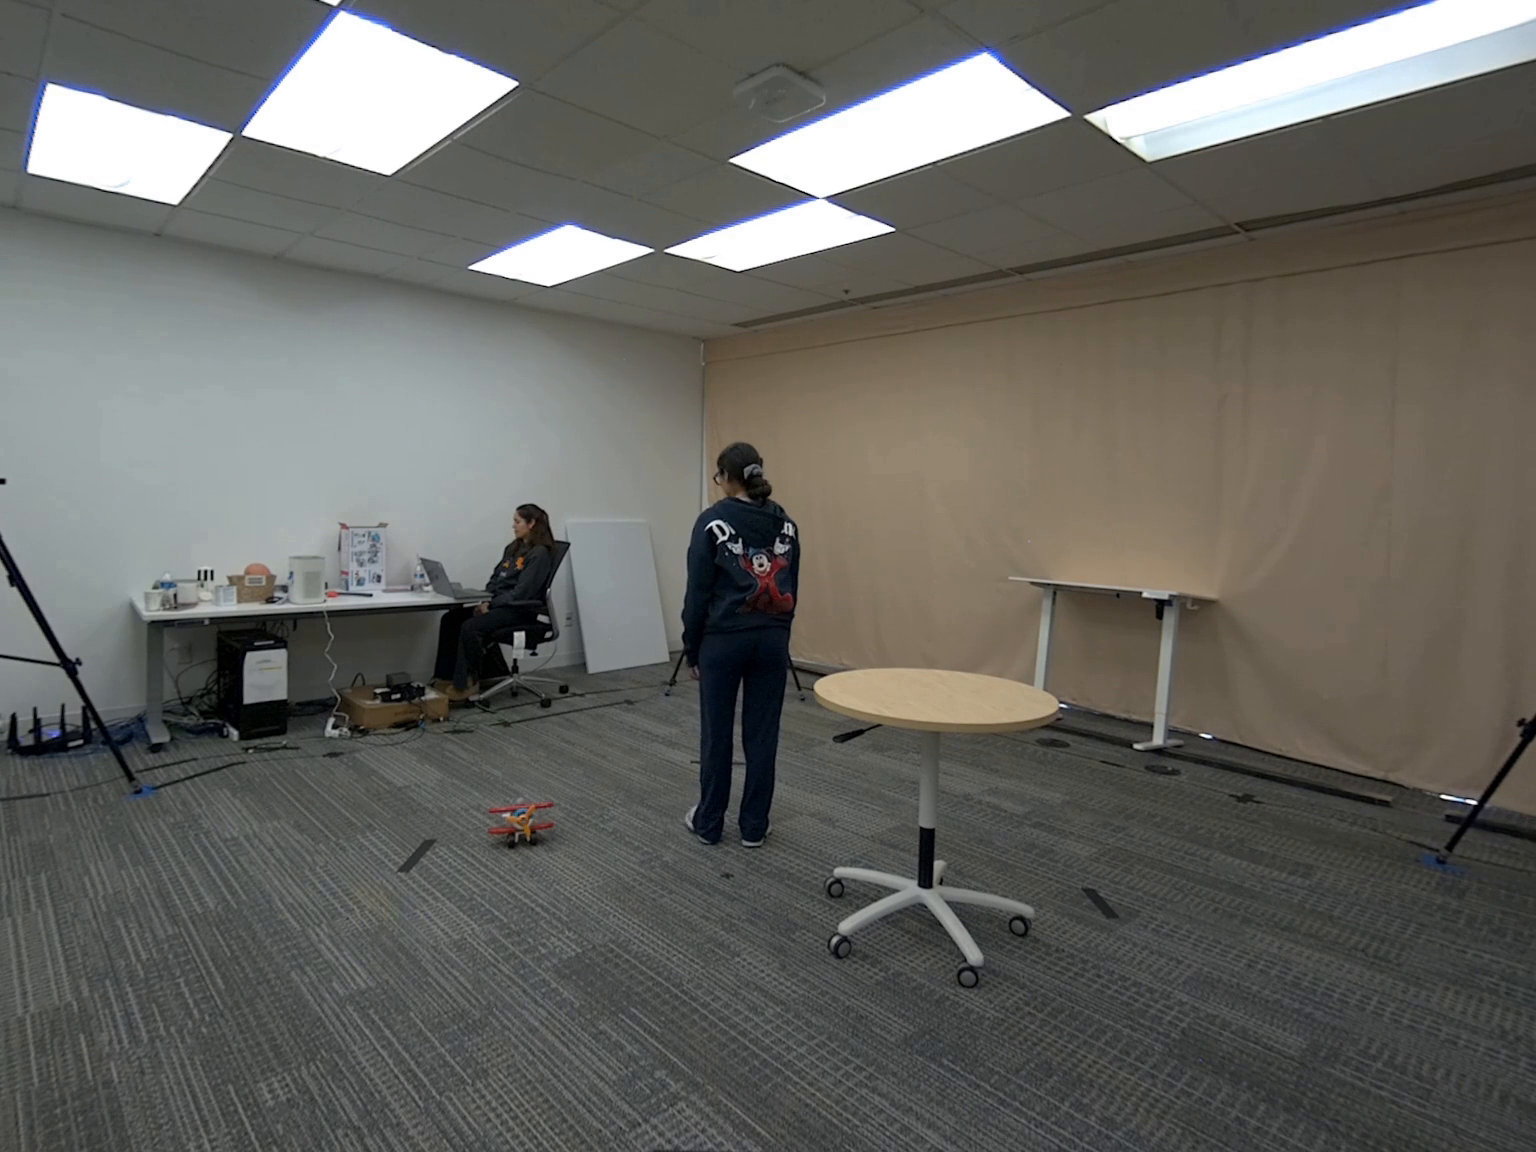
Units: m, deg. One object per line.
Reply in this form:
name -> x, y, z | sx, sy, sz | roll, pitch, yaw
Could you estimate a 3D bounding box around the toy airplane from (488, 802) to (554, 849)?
toy airplane -> -1.030, 0.986, 3.401 | 0.266, 0.156, 0.245 | 8, 8, 40
